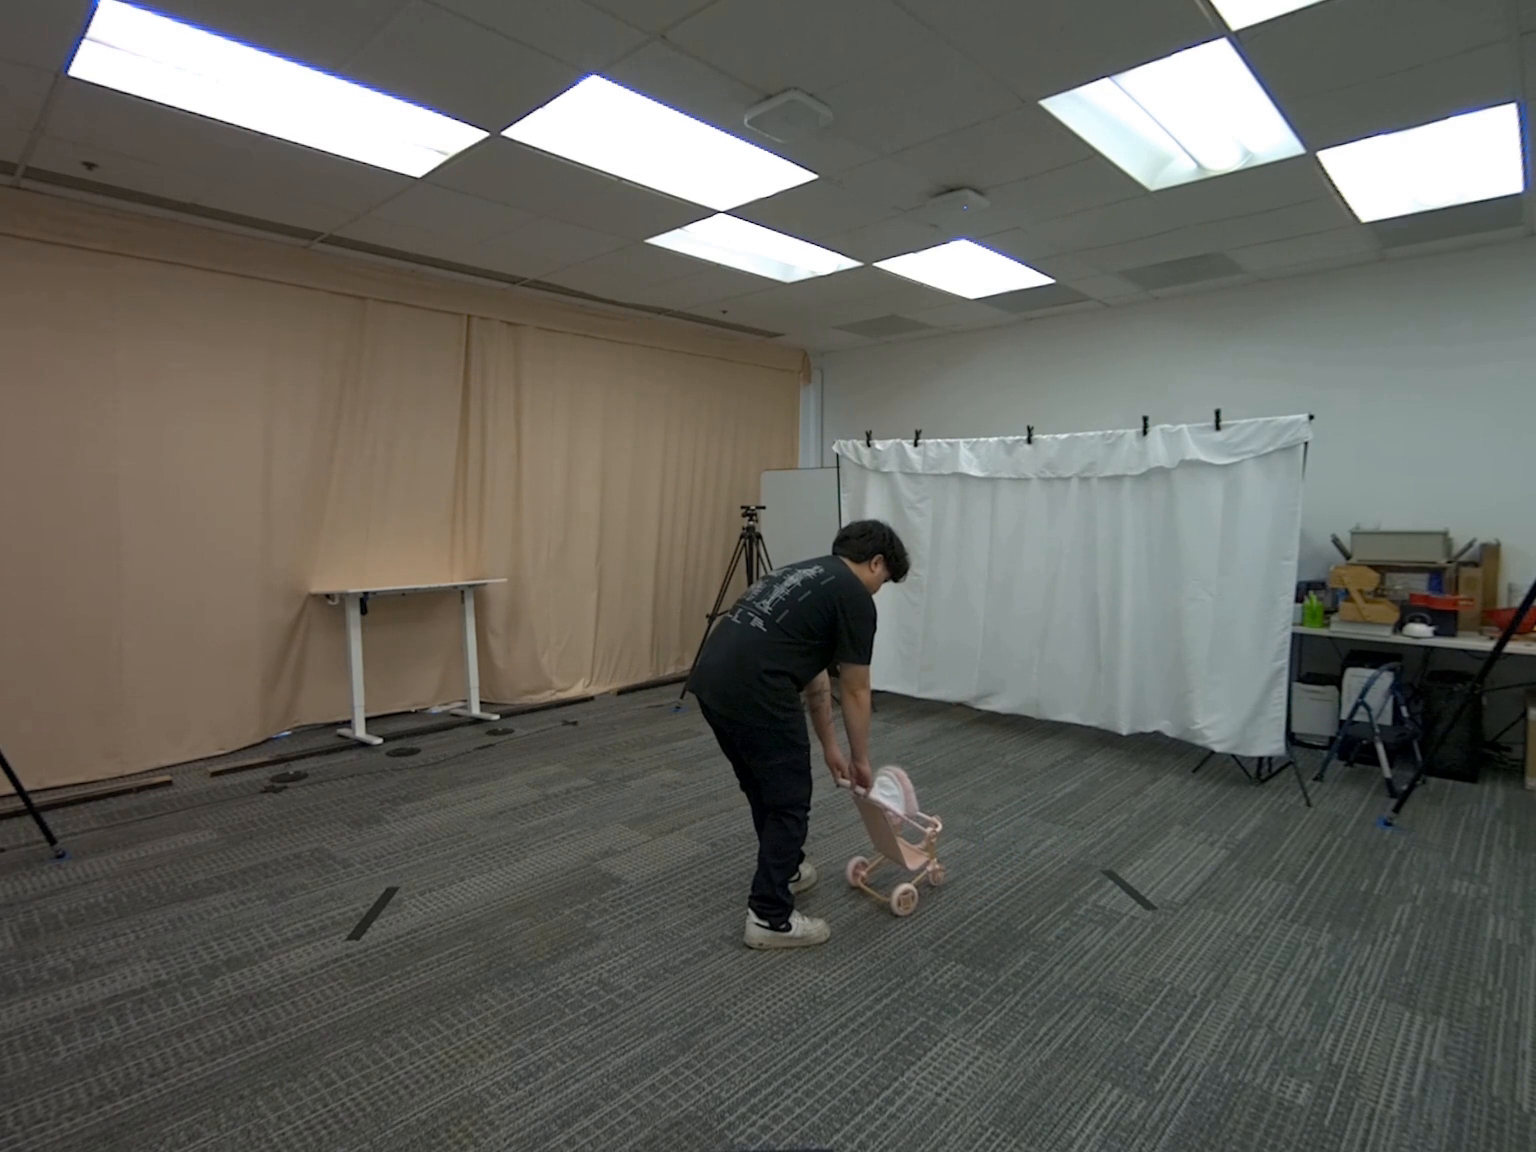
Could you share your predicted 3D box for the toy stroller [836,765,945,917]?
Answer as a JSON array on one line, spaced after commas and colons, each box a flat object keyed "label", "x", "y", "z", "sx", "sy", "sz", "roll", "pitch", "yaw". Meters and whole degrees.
[{"label": "toy stroller", "x": 0.456, "y": 0.912, "z": 2.982, "sx": 0.335, "sy": 0.531, "sz": 0.289, "roll": -17, "pitch": 10, "yaw": -25}]
